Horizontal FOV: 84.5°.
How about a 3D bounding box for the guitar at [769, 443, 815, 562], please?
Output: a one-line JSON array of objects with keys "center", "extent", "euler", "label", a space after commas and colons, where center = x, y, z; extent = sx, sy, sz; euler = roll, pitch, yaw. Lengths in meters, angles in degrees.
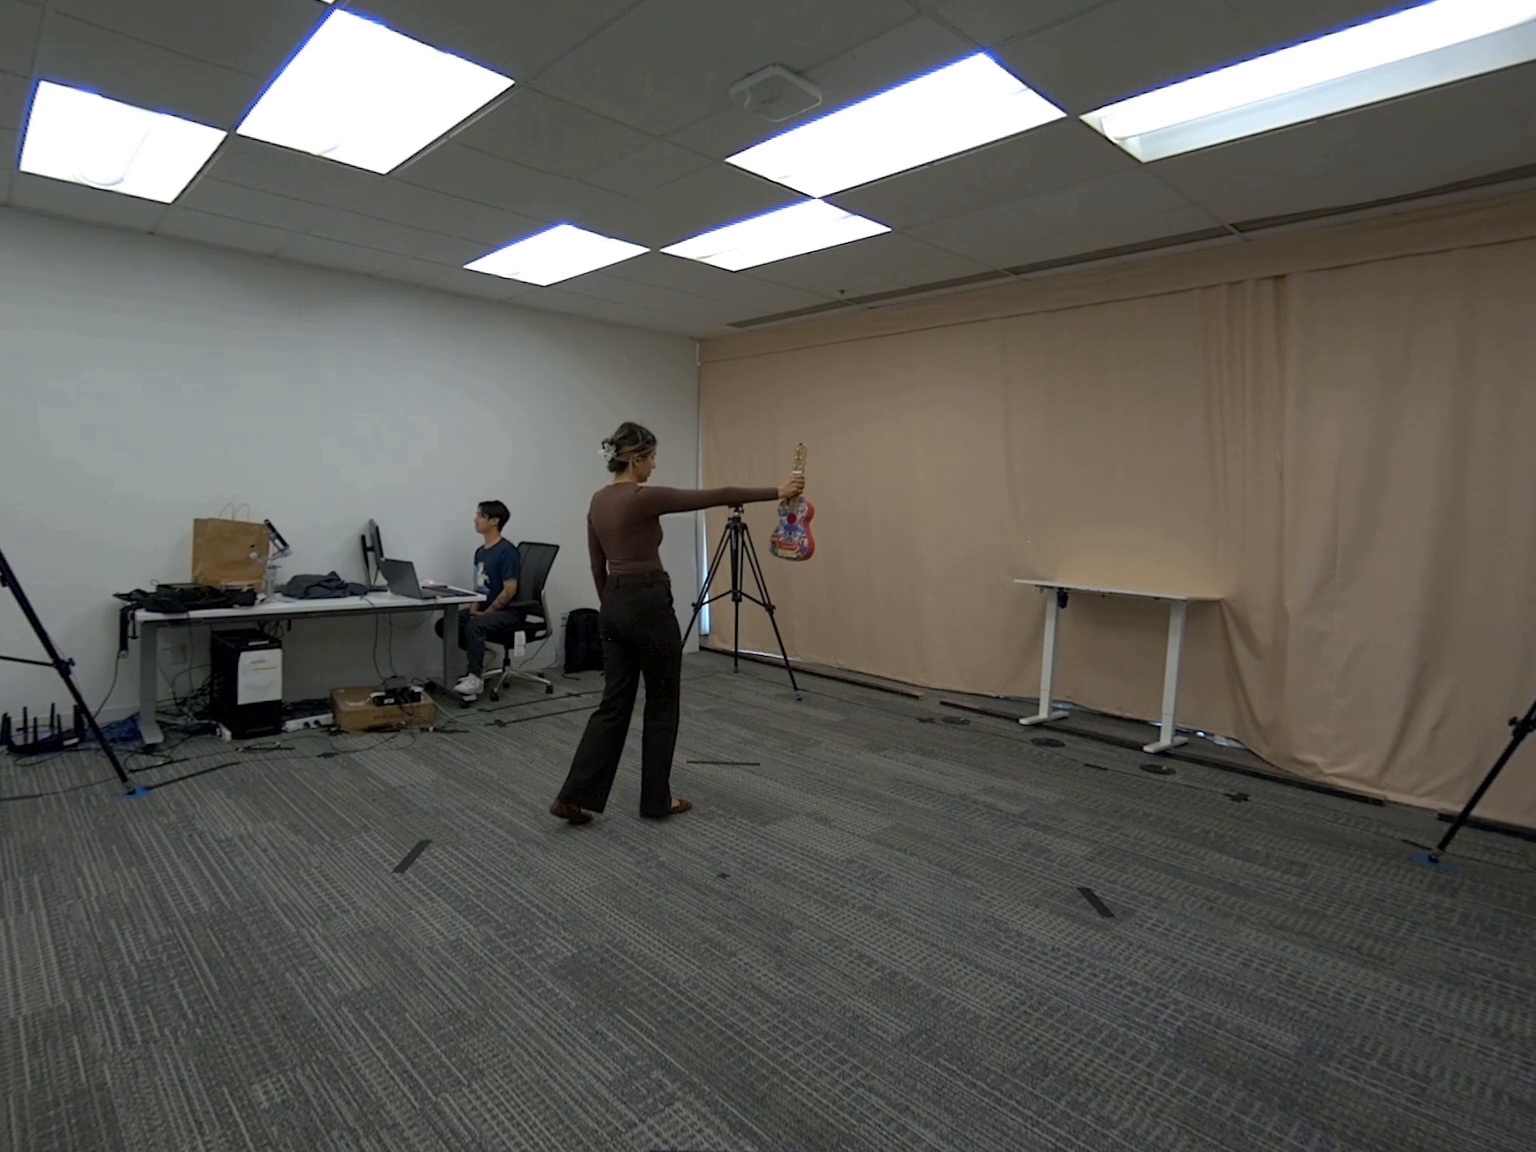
[{"center": [0.133, -0.308, 3.584], "extent": [0.198, 0.498, 0.069], "euler": [13, 0, 29], "label": "guitar"}]
